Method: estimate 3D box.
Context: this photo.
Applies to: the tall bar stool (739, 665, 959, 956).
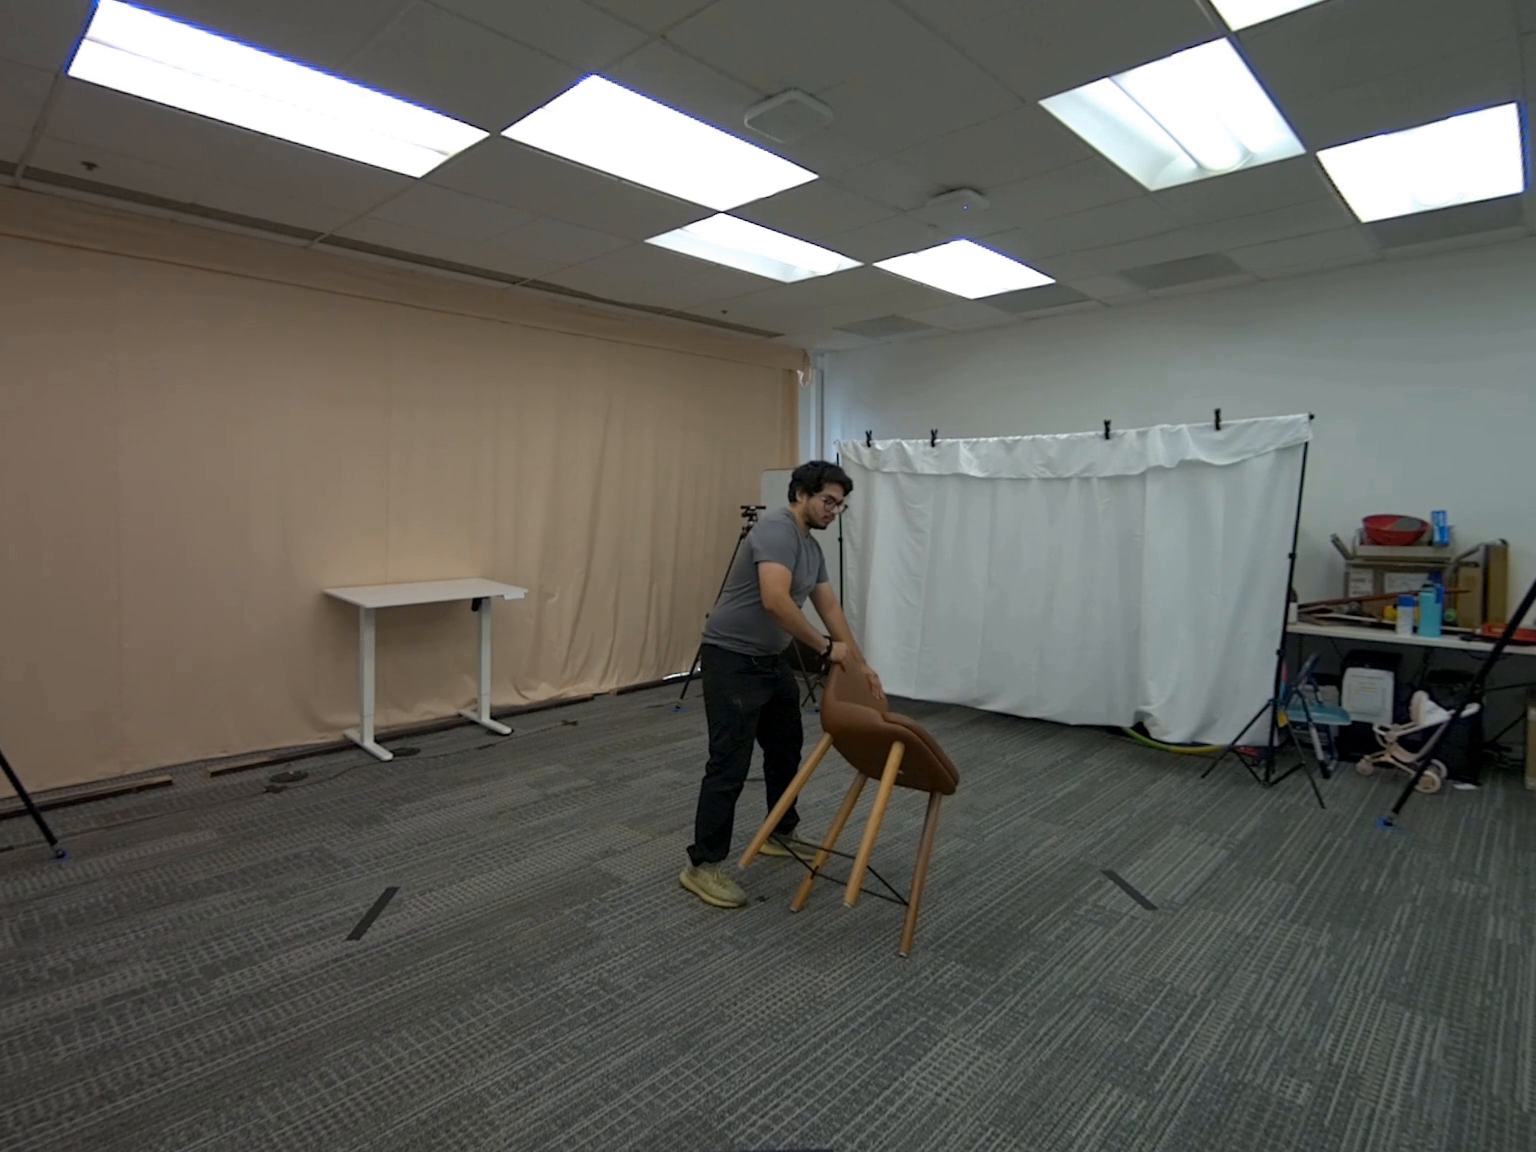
[{"bbox_3d":[0.347,0.706,2.839,0.482,0.891,0.441,-1,-38,41],"label":"tall bar stool"}]
